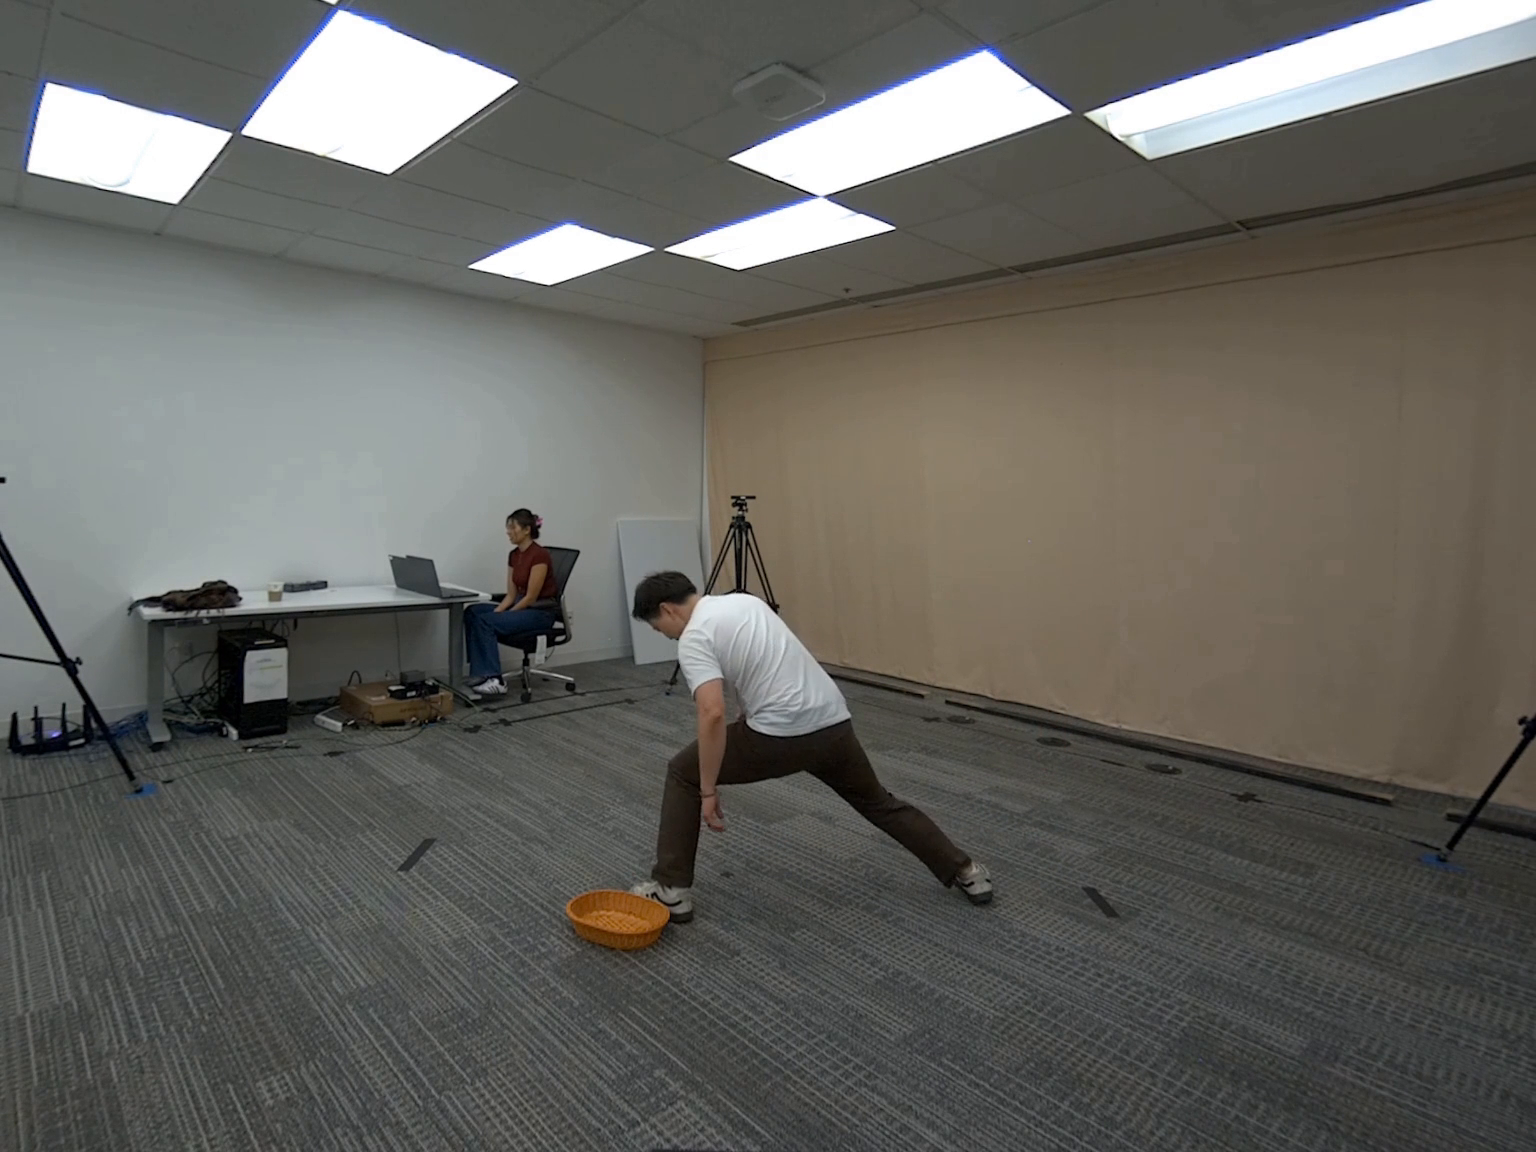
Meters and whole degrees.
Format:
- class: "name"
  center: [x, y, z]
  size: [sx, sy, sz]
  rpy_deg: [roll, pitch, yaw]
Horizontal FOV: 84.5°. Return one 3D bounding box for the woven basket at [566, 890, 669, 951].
- class: "woven basket"
  center: [-0.484, 1.096, 2.678]
  size: [0.358, 0.073, 0.247]
  rpy_deg: [4, 4, 28]
